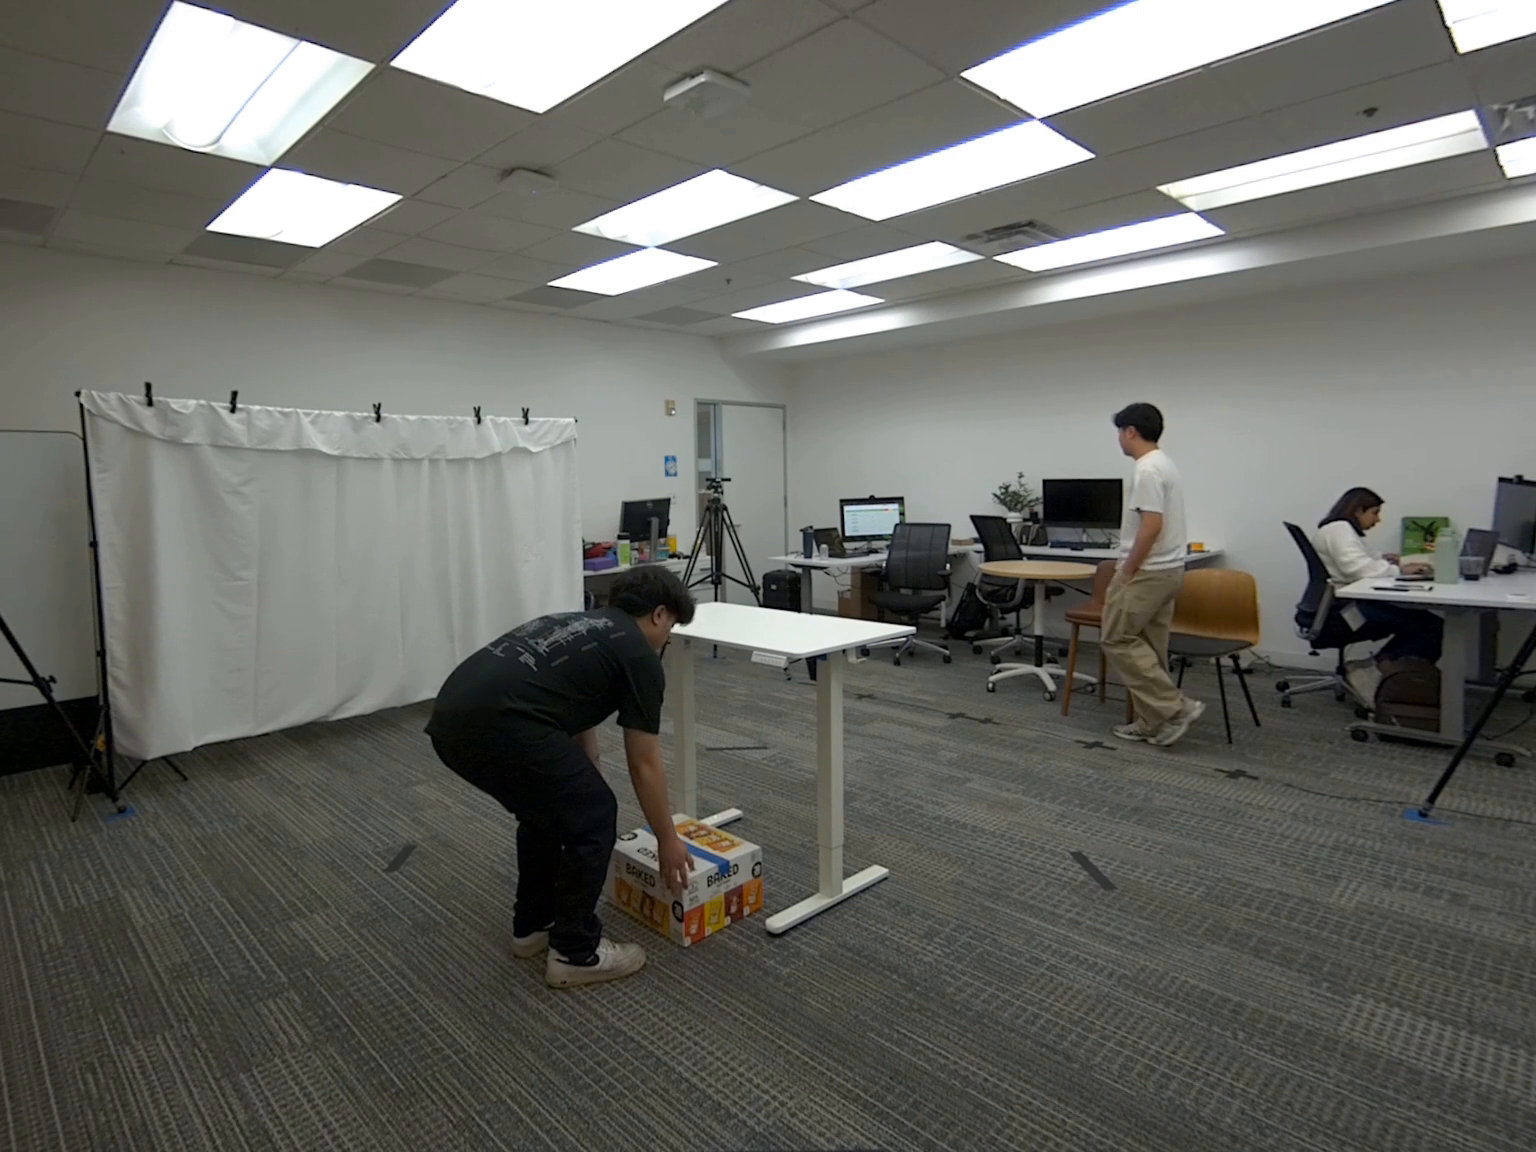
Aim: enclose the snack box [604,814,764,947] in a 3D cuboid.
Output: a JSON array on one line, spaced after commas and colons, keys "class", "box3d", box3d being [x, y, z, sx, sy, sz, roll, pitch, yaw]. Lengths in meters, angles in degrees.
[{"class": "snack box", "box3d": [-0.281, 0.983, 2.800, 0.418, 0.205, 0.331, 6, 8, 45]}]
